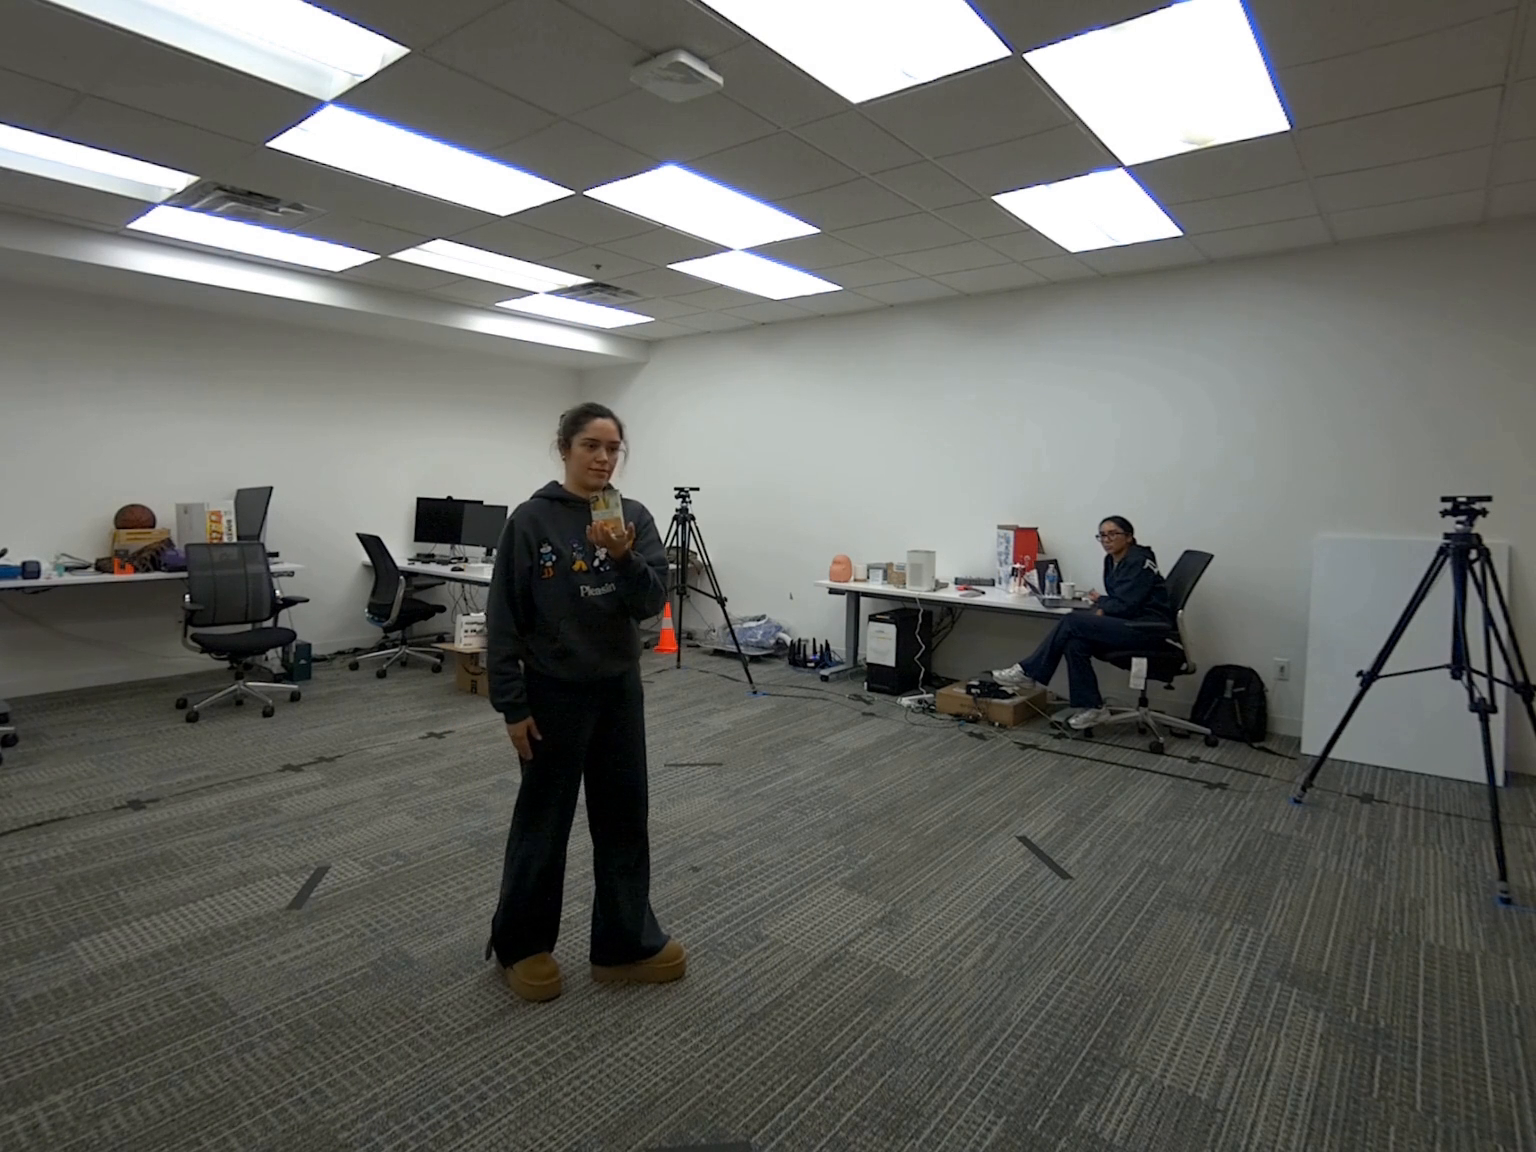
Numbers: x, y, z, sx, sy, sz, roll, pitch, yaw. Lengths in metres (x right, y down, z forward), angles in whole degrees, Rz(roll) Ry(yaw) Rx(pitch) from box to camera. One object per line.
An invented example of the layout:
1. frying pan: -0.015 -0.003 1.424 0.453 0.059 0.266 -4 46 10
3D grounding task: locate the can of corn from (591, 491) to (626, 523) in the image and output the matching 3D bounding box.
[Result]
1. can of corn: -0.398 -0.155 2.091 0.074 0.111 0.074 1 2 -2
